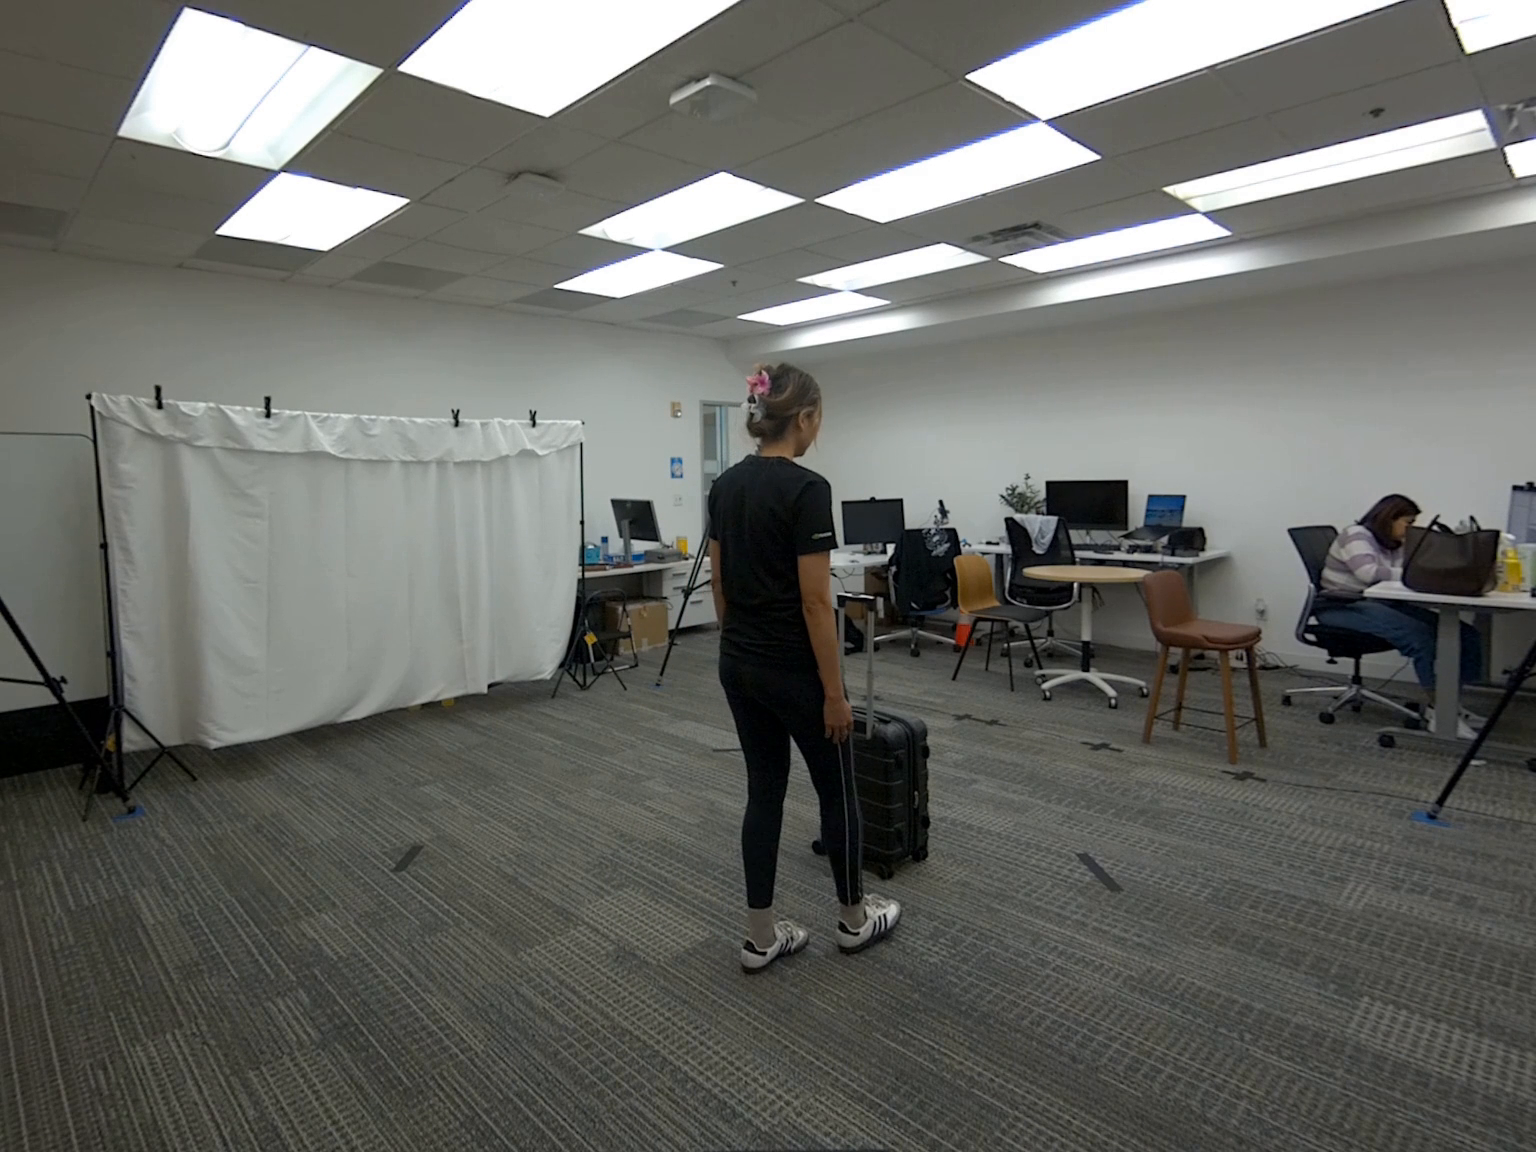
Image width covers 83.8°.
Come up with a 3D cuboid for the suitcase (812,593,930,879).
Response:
[{"bbox_3d":[0.397,0.563,3.116,0.250,0.976,0.396,-1,4,-43],"label":"suitcase"}]
